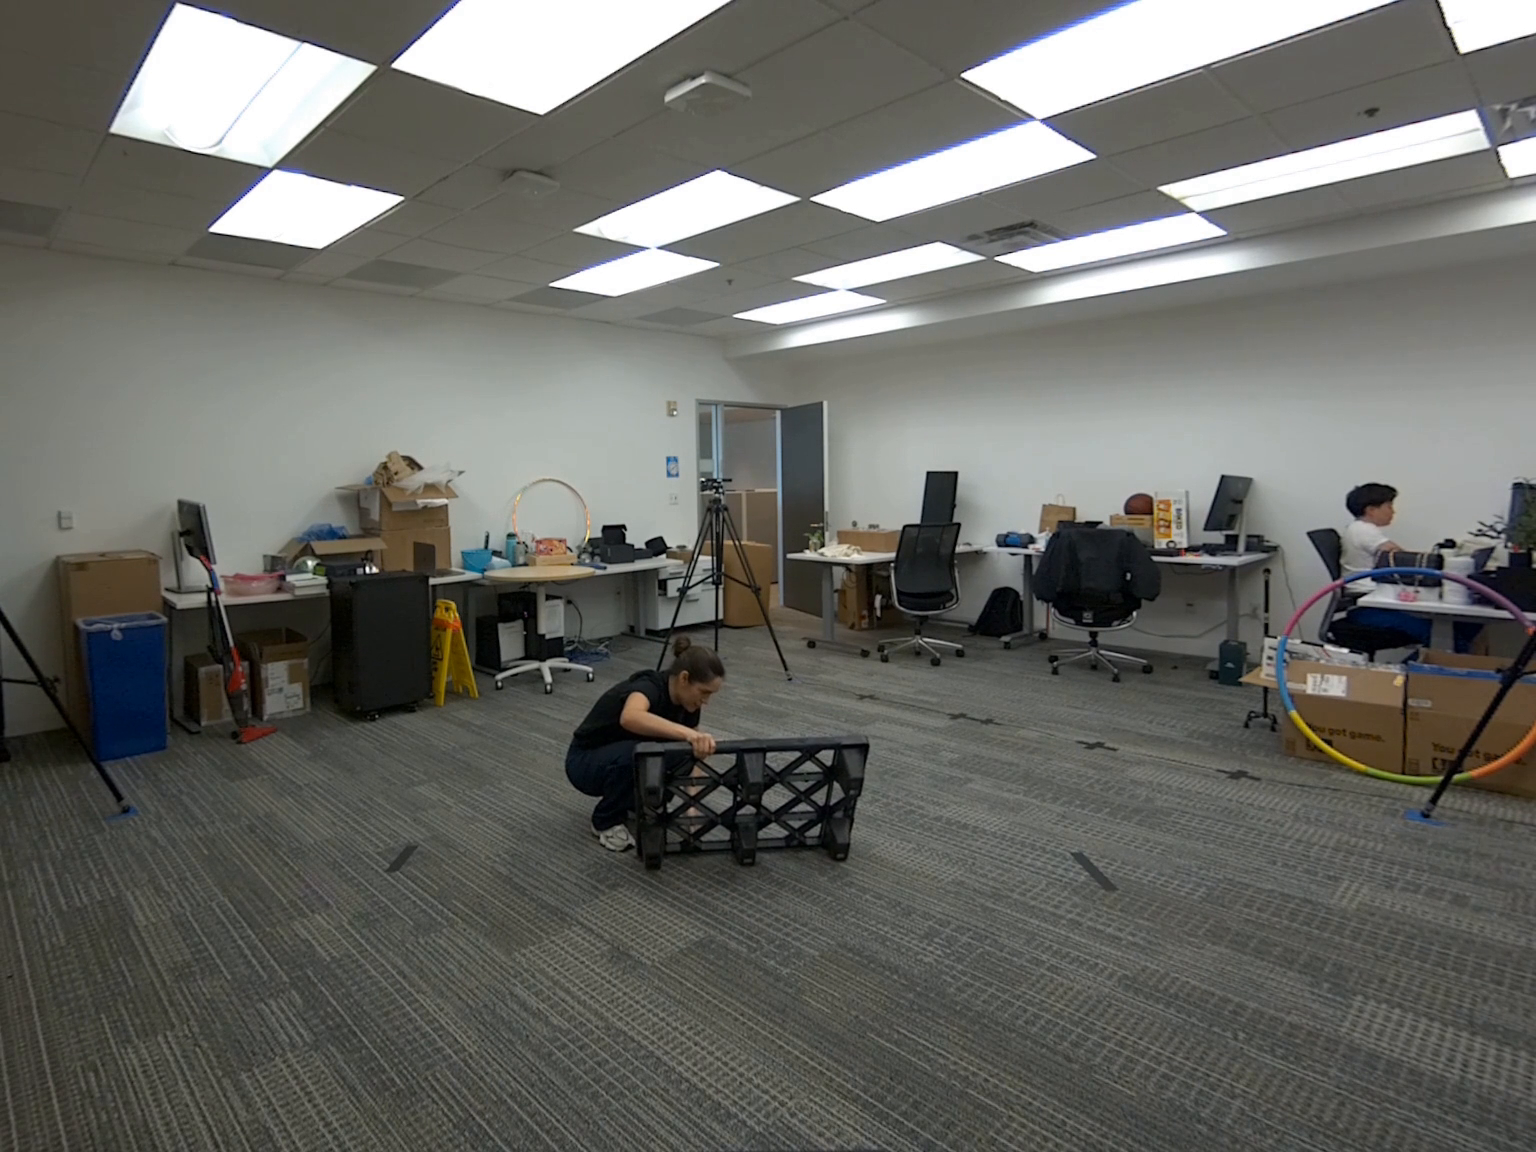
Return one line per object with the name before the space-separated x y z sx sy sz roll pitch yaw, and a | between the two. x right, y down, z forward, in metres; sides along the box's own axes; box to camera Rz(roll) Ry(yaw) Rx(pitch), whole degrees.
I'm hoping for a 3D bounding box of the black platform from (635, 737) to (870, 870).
black platform | -0.062 0.815 3.008 0.801 0.590 0.147 -1 36 -5
